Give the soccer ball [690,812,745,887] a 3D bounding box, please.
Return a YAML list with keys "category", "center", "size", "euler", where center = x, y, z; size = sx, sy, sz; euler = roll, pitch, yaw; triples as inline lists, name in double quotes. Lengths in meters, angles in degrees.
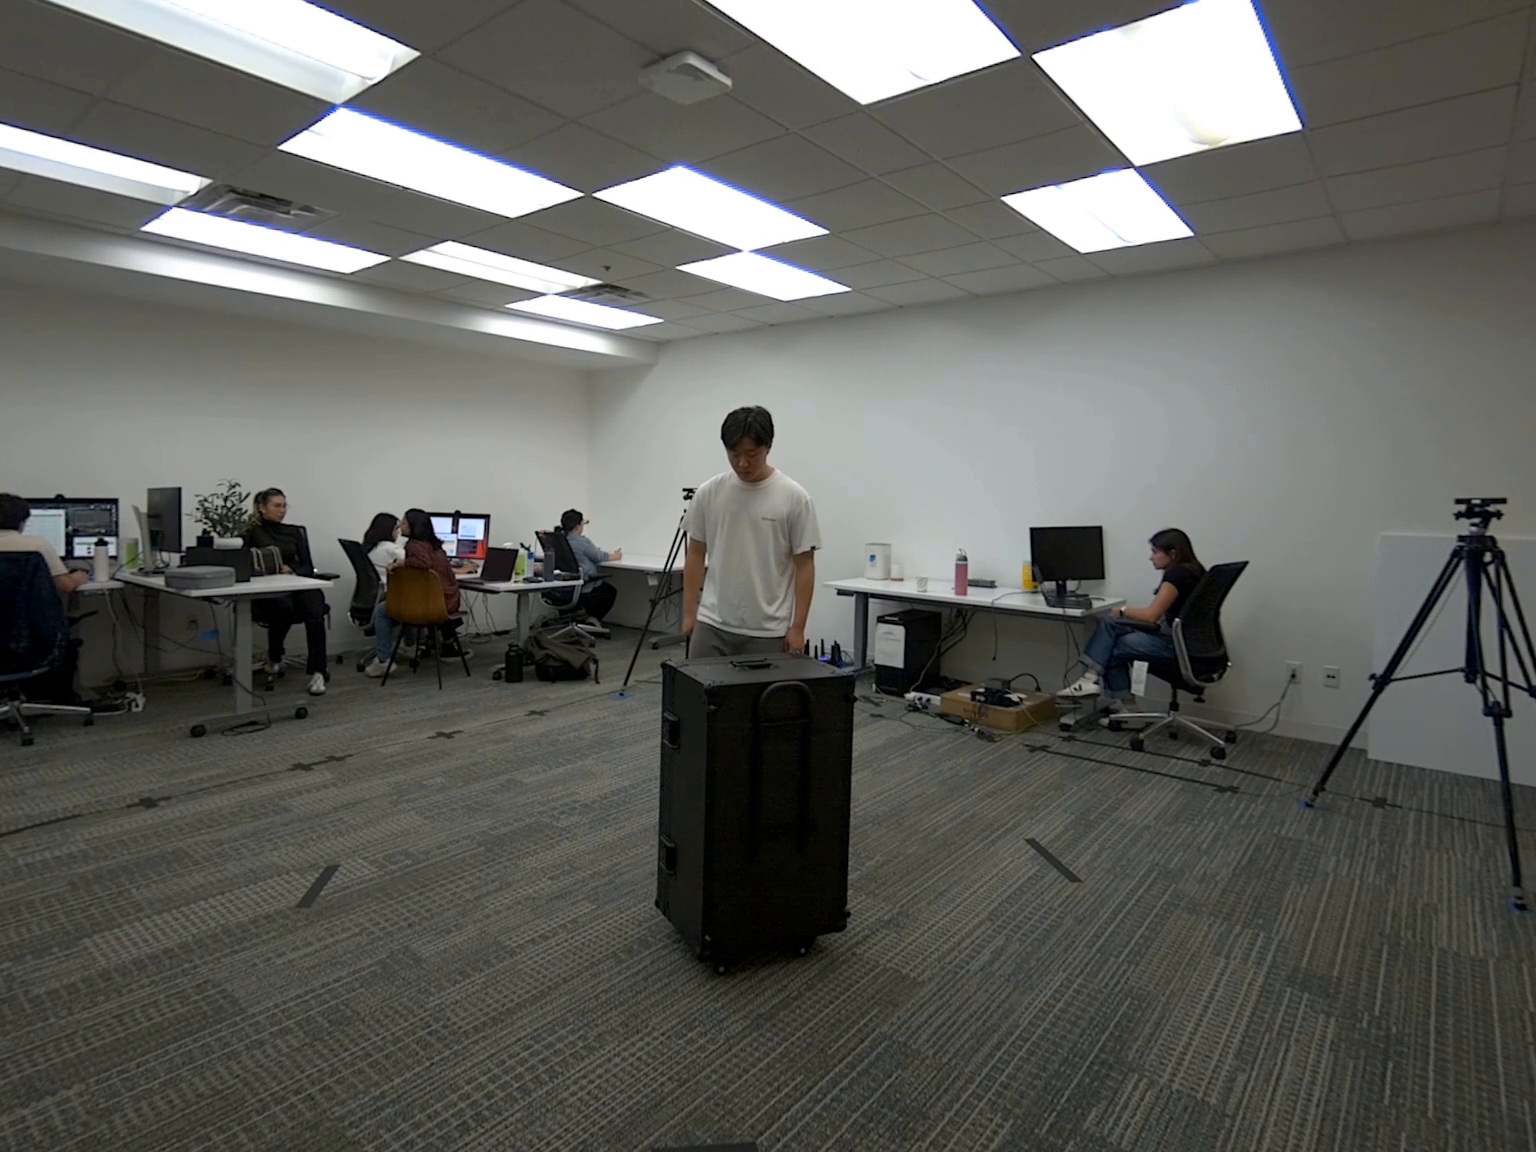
- category: "soccer ball"
  center: [-0.184, 0.974, 3.013]
  size: [0.187, 0.187, 0.188]
  euler: [1, 4, -2]
